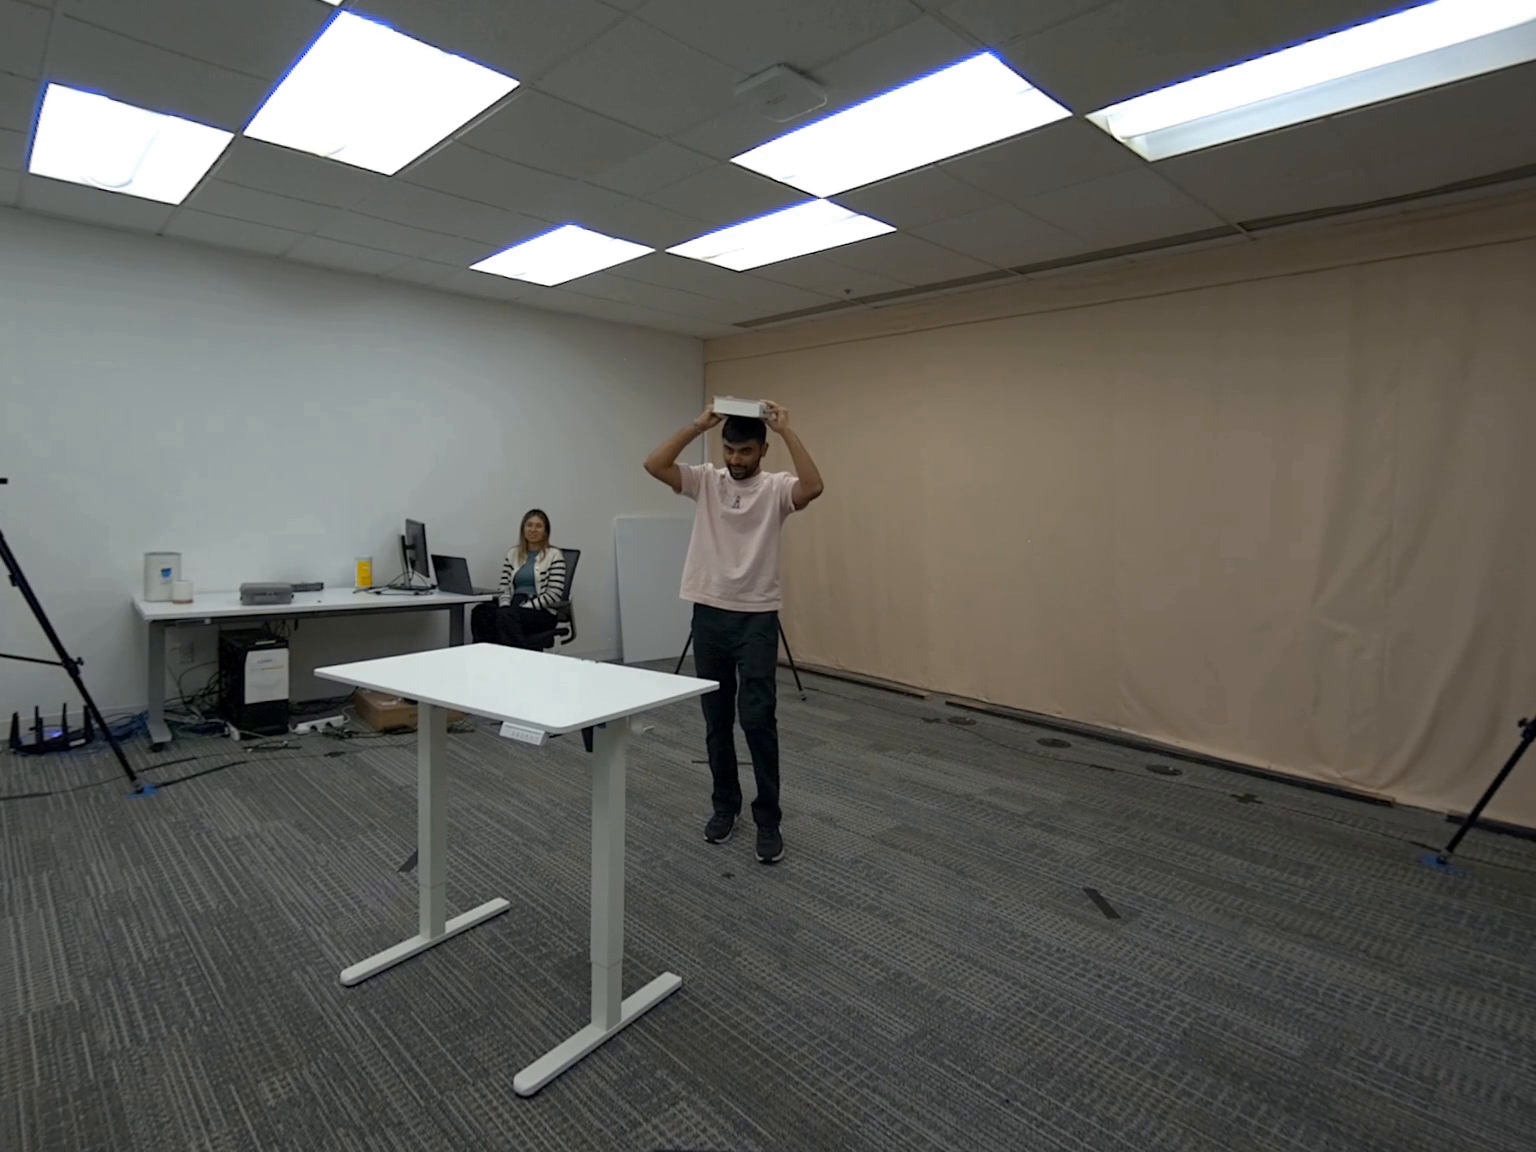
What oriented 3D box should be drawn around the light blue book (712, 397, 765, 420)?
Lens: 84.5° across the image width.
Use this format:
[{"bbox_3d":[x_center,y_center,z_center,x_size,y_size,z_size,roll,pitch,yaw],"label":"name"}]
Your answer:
[{"bbox_3d":[-0.081,-0.651,3.300,0.194,0.058,0.259,11,11,14],"label":"light blue book"}]
